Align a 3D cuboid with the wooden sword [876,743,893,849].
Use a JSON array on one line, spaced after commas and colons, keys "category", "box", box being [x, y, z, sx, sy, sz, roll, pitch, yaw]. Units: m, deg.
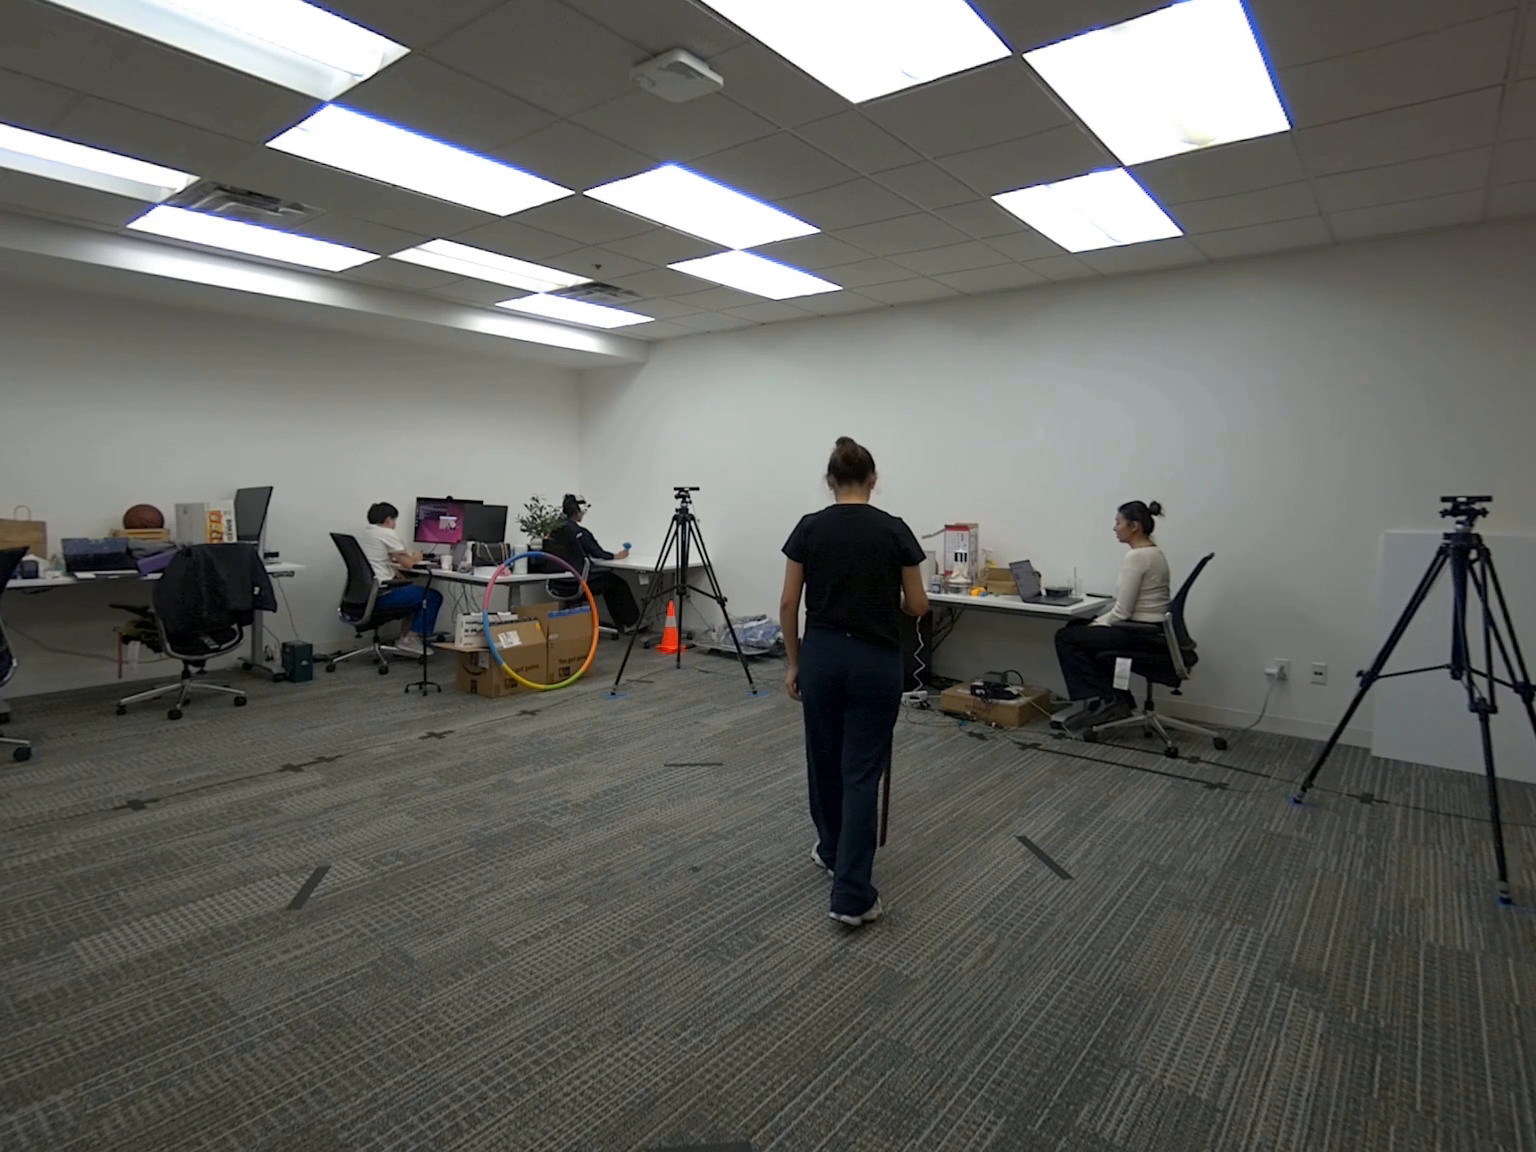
[{"category": "wooden sword", "box": [0.462, 0.540, 3.170, 0.052, 1.019, 0.024, 5, 6, 19]}]
